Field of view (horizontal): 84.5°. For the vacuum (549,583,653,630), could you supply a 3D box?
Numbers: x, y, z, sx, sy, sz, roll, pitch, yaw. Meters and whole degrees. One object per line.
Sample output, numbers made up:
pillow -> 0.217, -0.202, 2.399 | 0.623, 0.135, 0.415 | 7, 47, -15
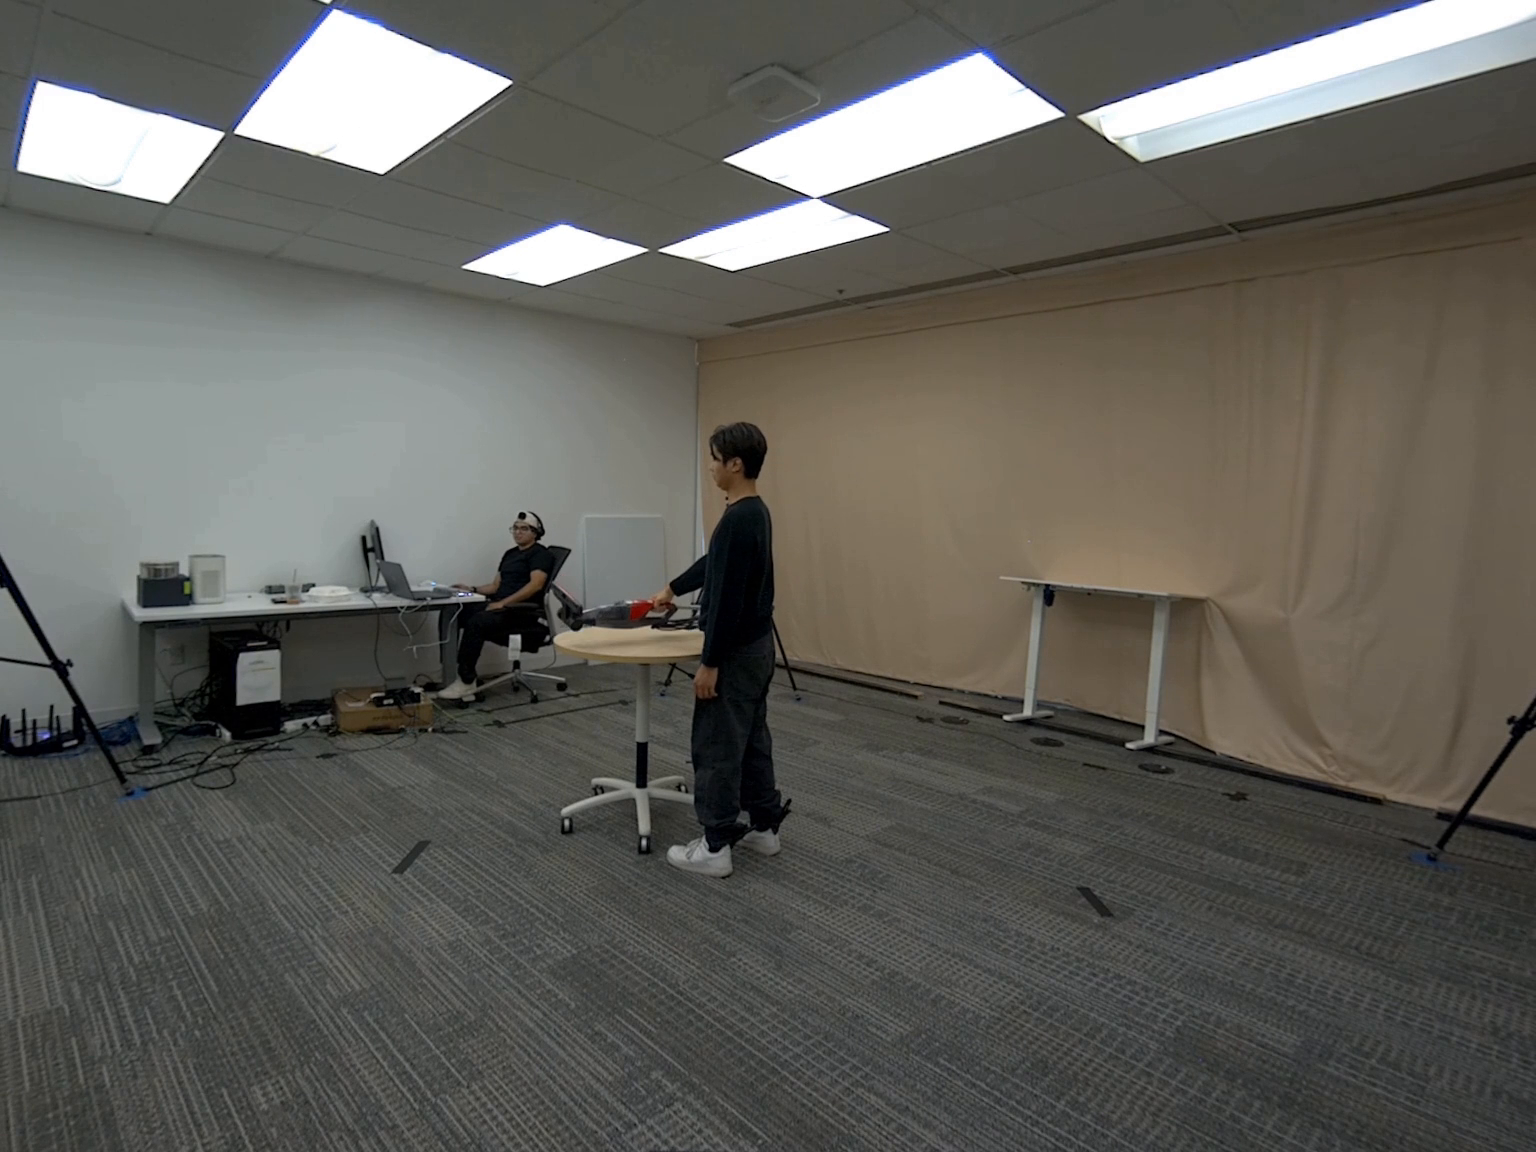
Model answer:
vacuum -> -0.410, 0.177, 3.646 | 1.022, 0.143, 0.260 | 7, 14, -40
